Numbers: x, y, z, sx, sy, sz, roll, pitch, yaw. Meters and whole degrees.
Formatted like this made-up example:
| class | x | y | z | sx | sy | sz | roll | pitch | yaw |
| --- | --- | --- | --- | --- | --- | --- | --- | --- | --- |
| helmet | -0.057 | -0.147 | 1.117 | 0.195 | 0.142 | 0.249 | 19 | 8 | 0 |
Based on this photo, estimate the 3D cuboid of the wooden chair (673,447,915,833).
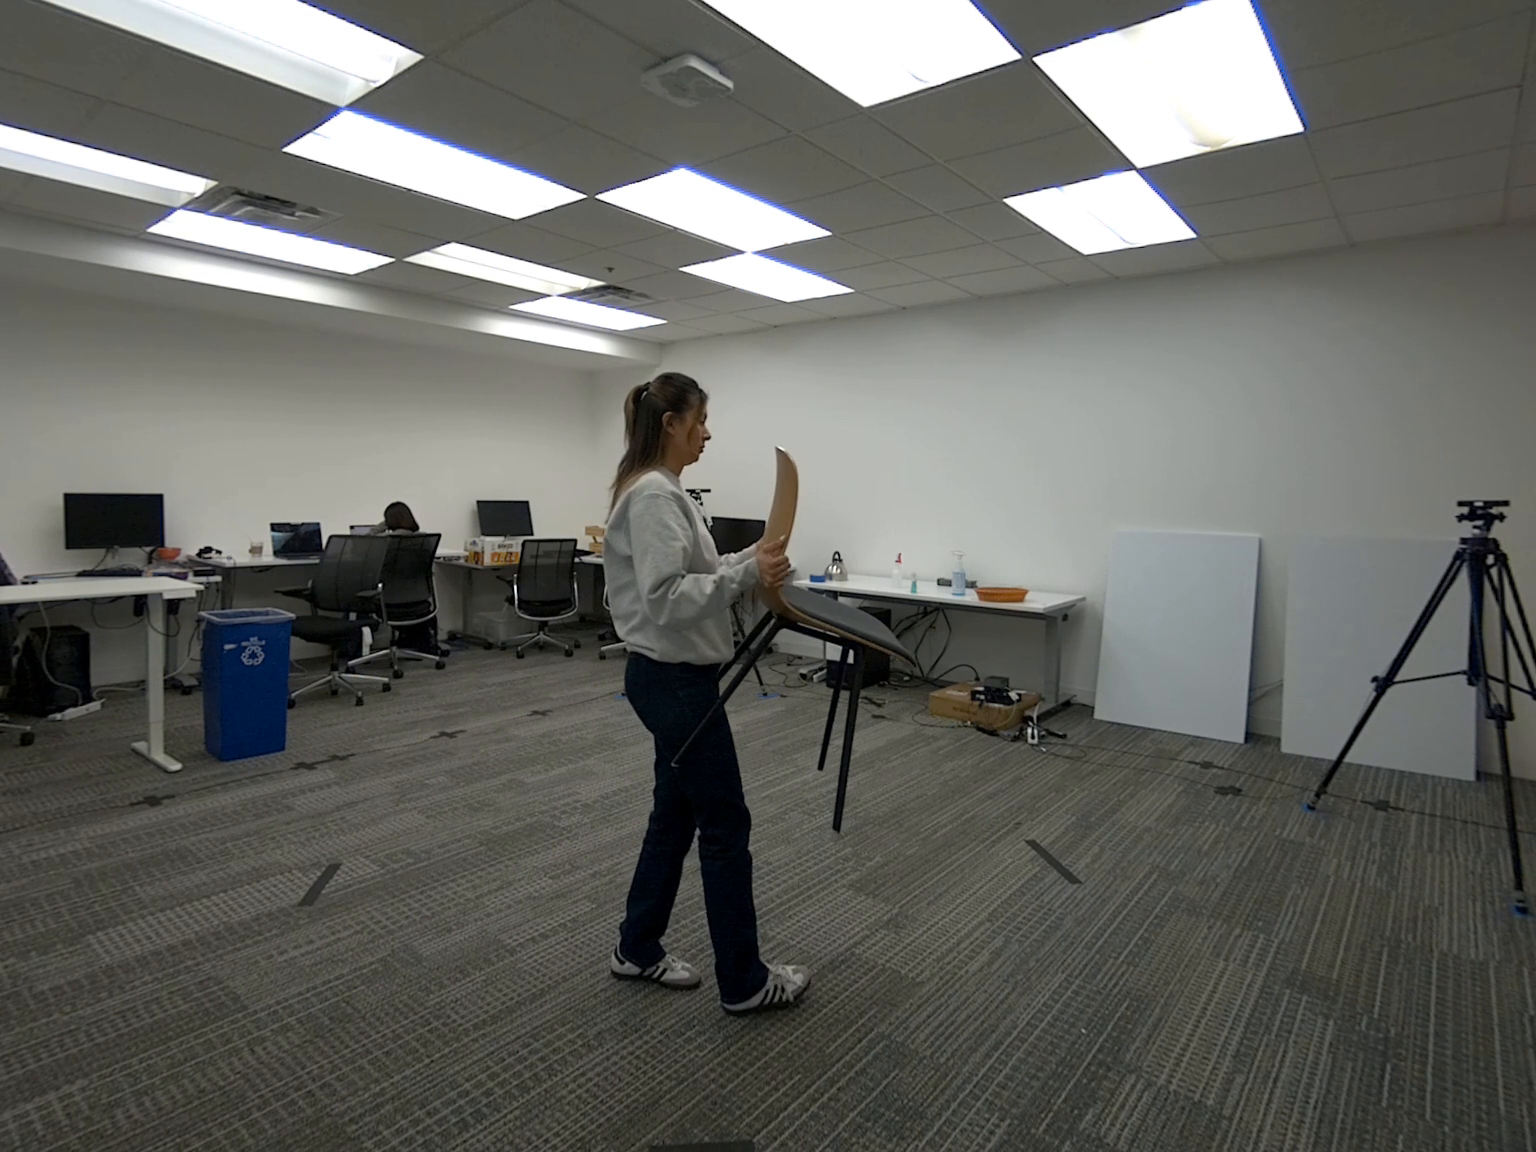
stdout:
| class | x | y | z | sx | sy | sz | roll | pitch | yaw |
| --- | --- | --- | --- | --- | --- | --- | --- | --- | --- |
| wooden chair | 0.133 | 0.152 | 2.302 | 0.523 | 0.876 | 0.480 | 18 | 3 | -2 |
